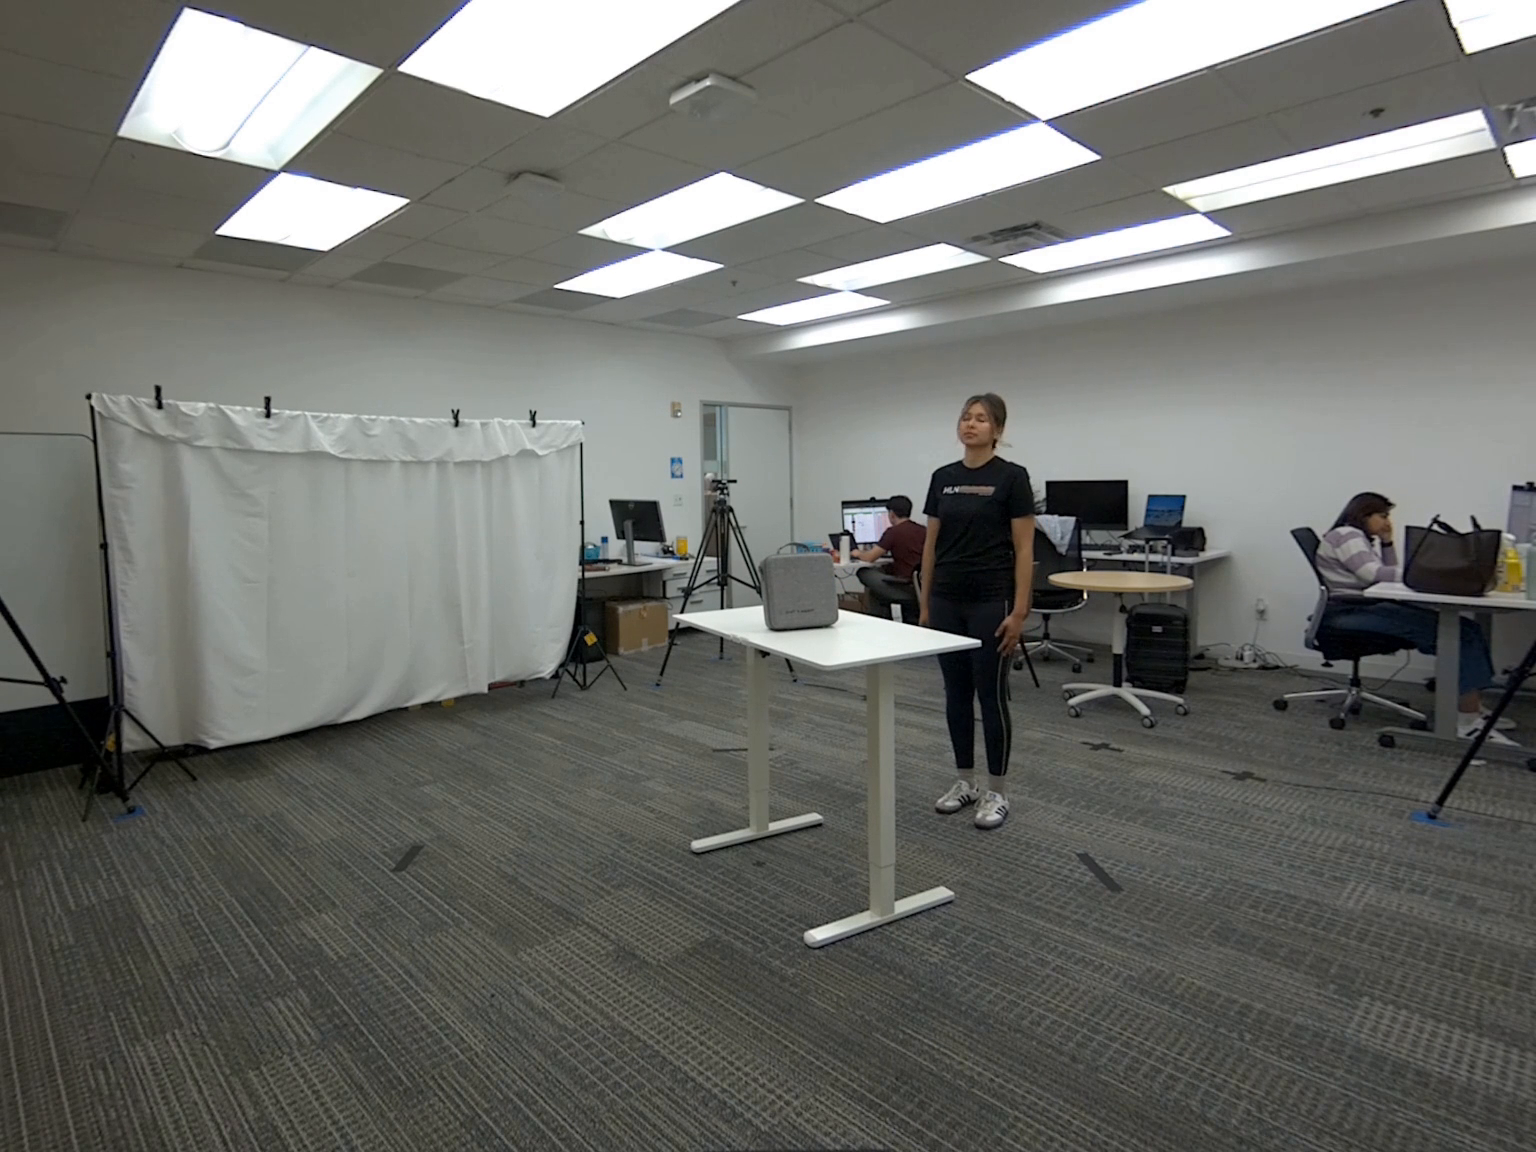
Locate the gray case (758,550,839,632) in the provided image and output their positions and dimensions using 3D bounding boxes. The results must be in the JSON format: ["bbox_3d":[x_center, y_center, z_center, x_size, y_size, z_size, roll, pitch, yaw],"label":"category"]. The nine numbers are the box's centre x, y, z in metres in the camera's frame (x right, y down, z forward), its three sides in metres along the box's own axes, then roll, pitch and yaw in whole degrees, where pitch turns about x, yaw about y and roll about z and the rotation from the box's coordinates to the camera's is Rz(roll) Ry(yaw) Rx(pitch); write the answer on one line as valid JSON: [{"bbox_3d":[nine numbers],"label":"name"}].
[{"bbox_3d":[0.110,0.048,2.957,0.253,0.262,0.105,-3,-5,-17],"label":"gray case"}]
